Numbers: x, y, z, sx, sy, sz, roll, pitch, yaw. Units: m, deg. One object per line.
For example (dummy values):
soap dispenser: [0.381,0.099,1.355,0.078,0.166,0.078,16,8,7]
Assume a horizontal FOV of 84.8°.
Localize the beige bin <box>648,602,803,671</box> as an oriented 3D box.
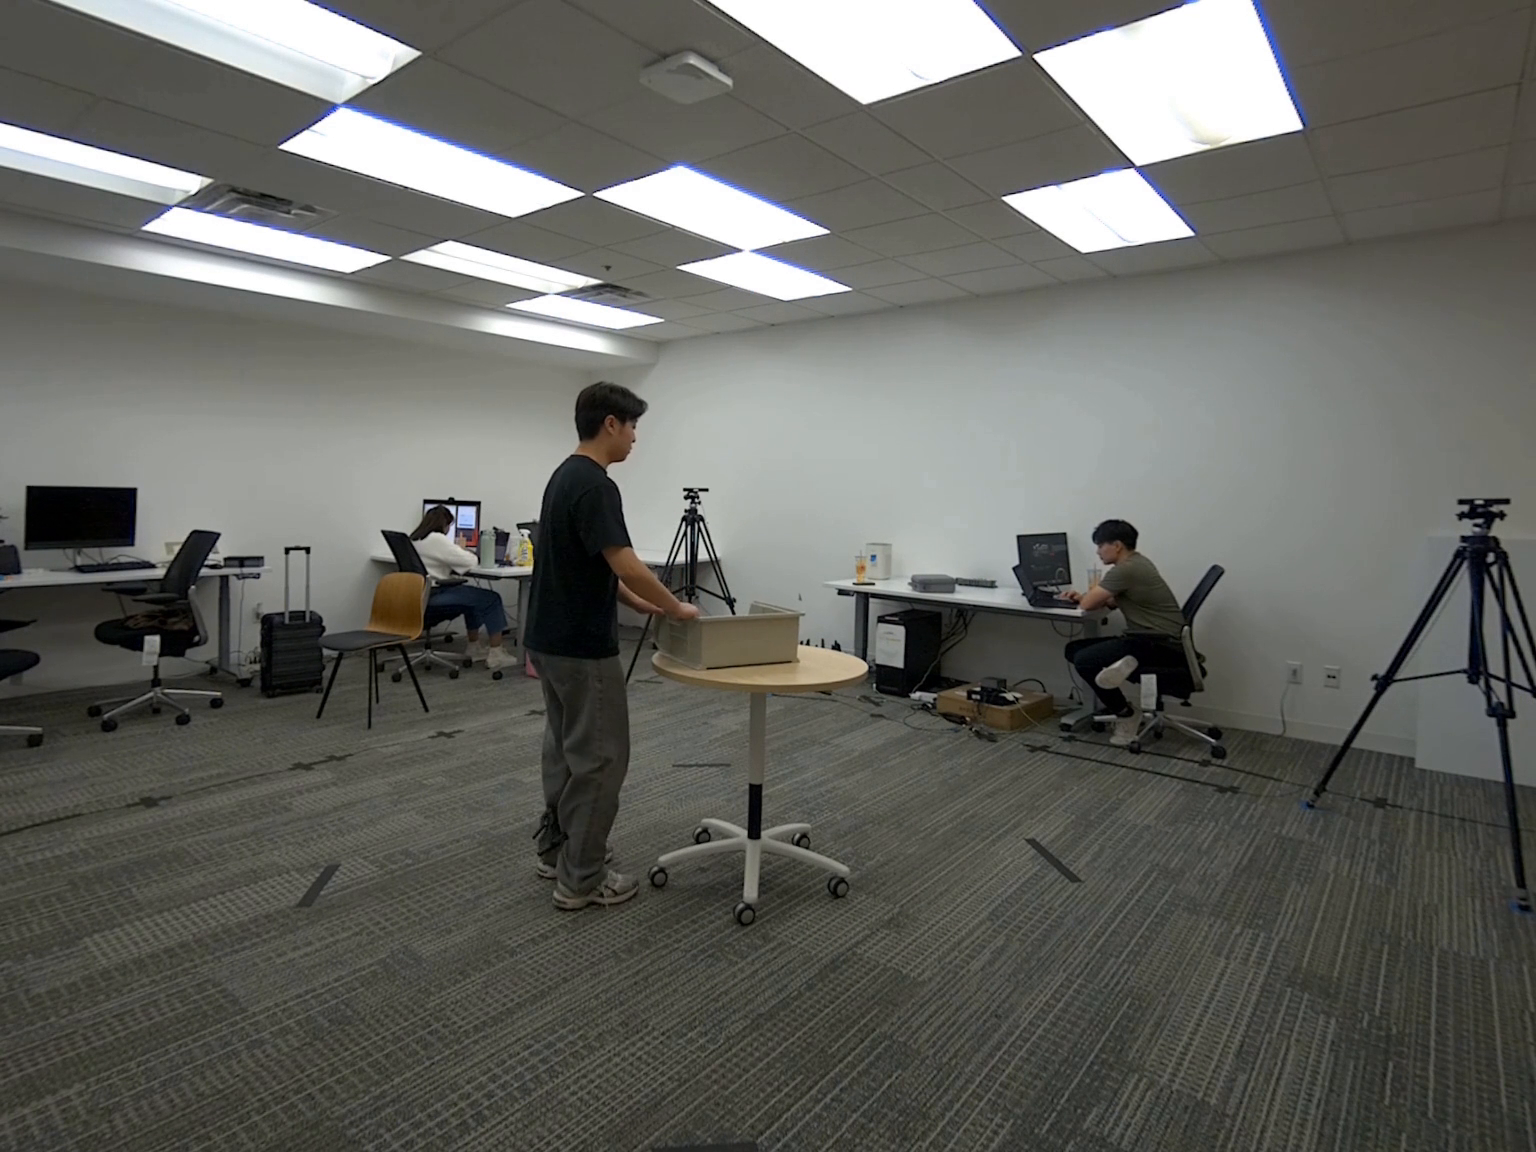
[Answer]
beige bin: [-0.155,0.204,3.060,0.411,0.188,0.389,-1,6,-30]
